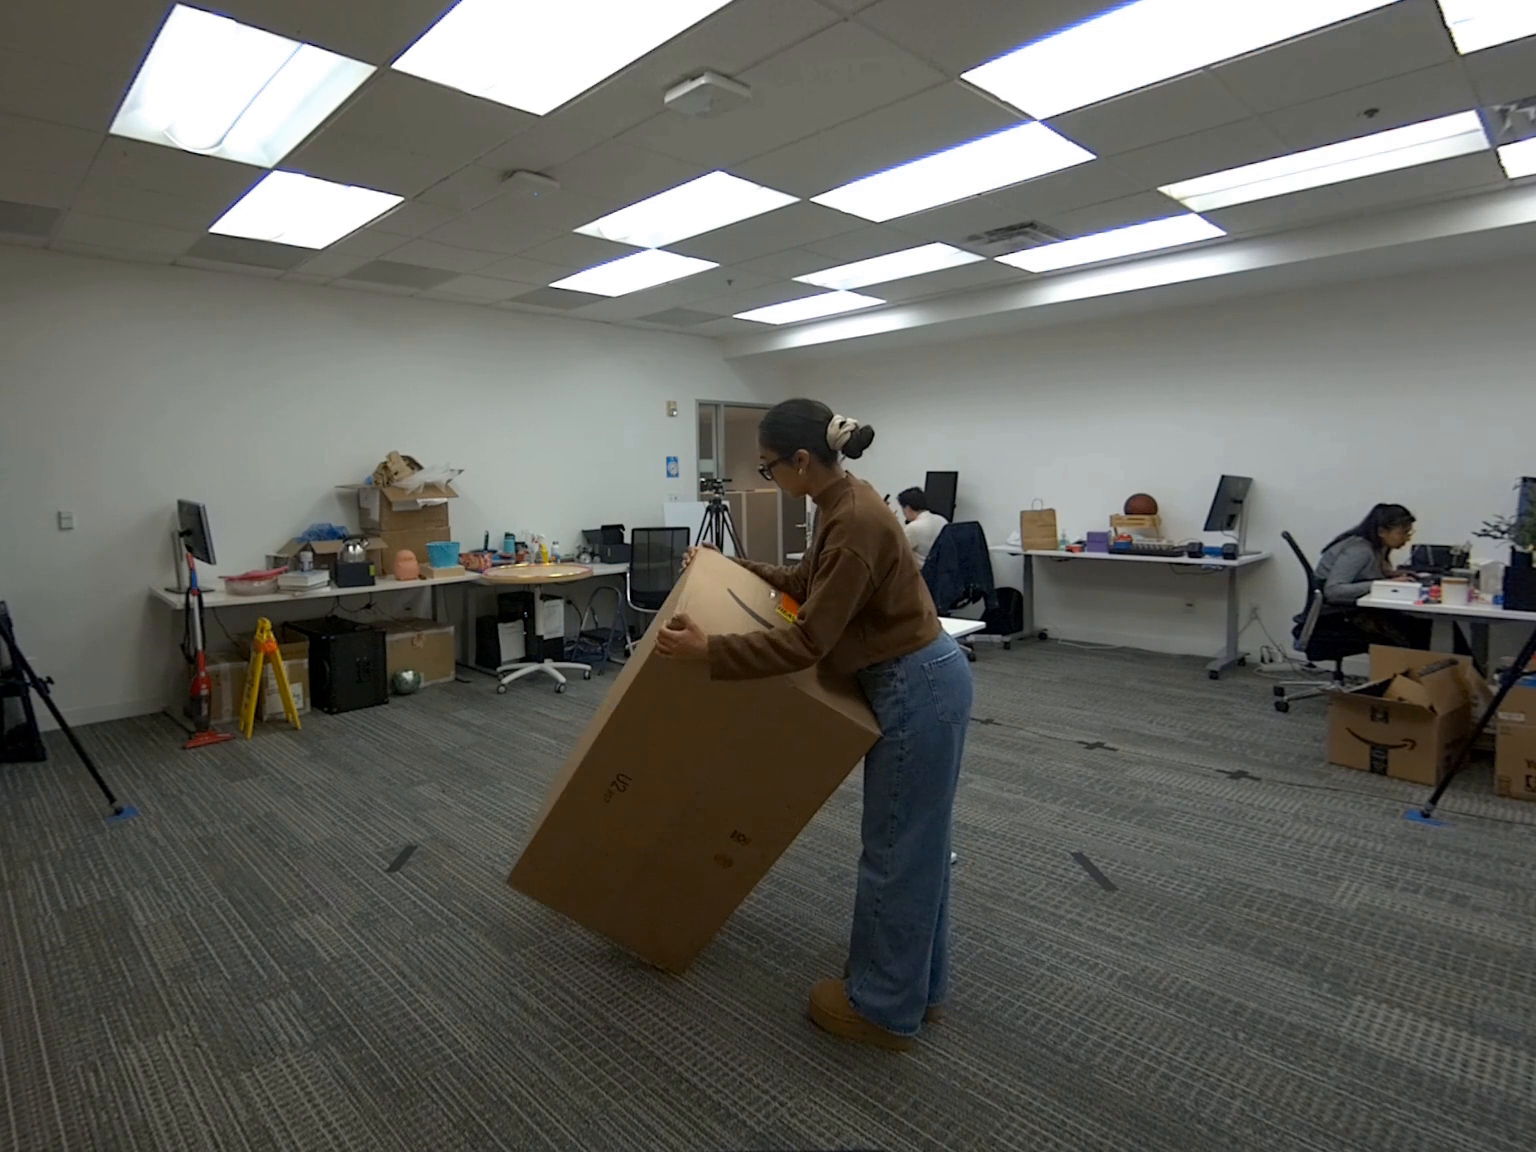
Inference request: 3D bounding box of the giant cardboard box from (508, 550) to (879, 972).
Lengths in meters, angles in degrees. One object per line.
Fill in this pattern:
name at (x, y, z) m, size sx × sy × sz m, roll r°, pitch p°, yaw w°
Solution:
giant cardboard box at (-0.209, 0.529, 2.384) m, size 0.573 × 1.020 × 0.432 m, roll 31°, pitch 24°, yaw -7°
